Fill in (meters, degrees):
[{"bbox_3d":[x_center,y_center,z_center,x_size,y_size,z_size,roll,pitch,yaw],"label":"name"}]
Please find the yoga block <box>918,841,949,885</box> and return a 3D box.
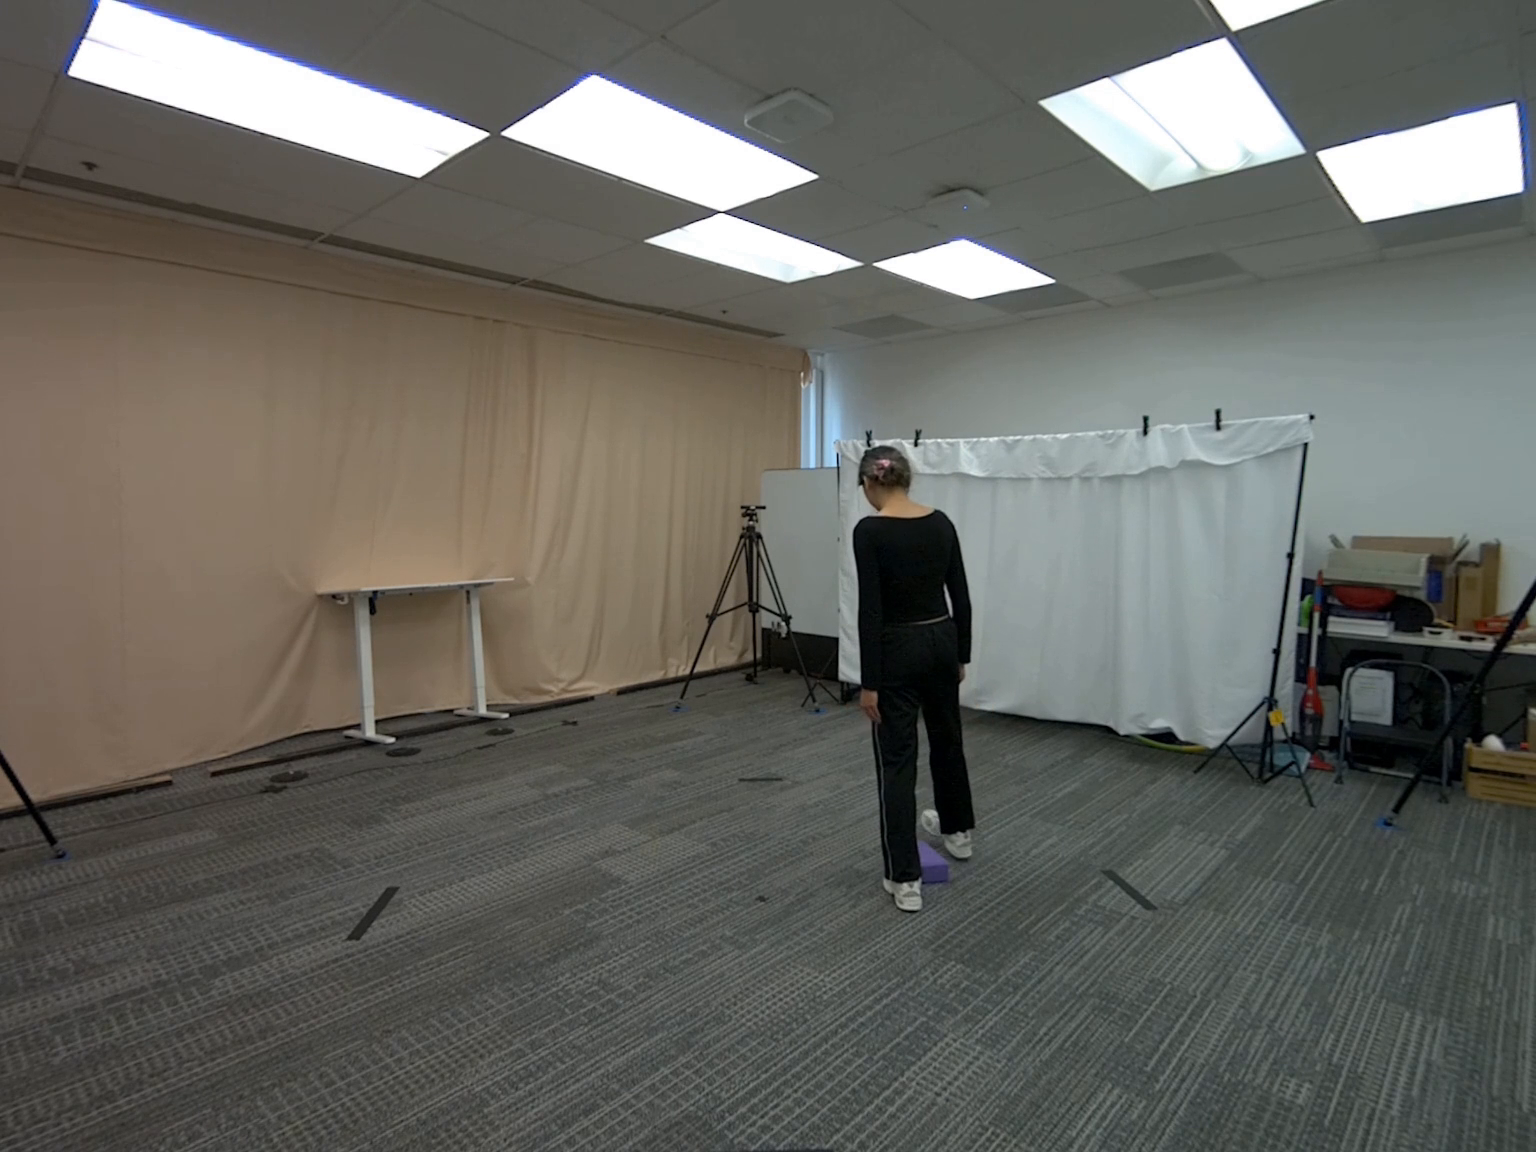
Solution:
[{"bbox_3d":[0.577,1.085,3.203,0.147,0.076,0.233,-1,5,-13],"label":"yoga block"}]
